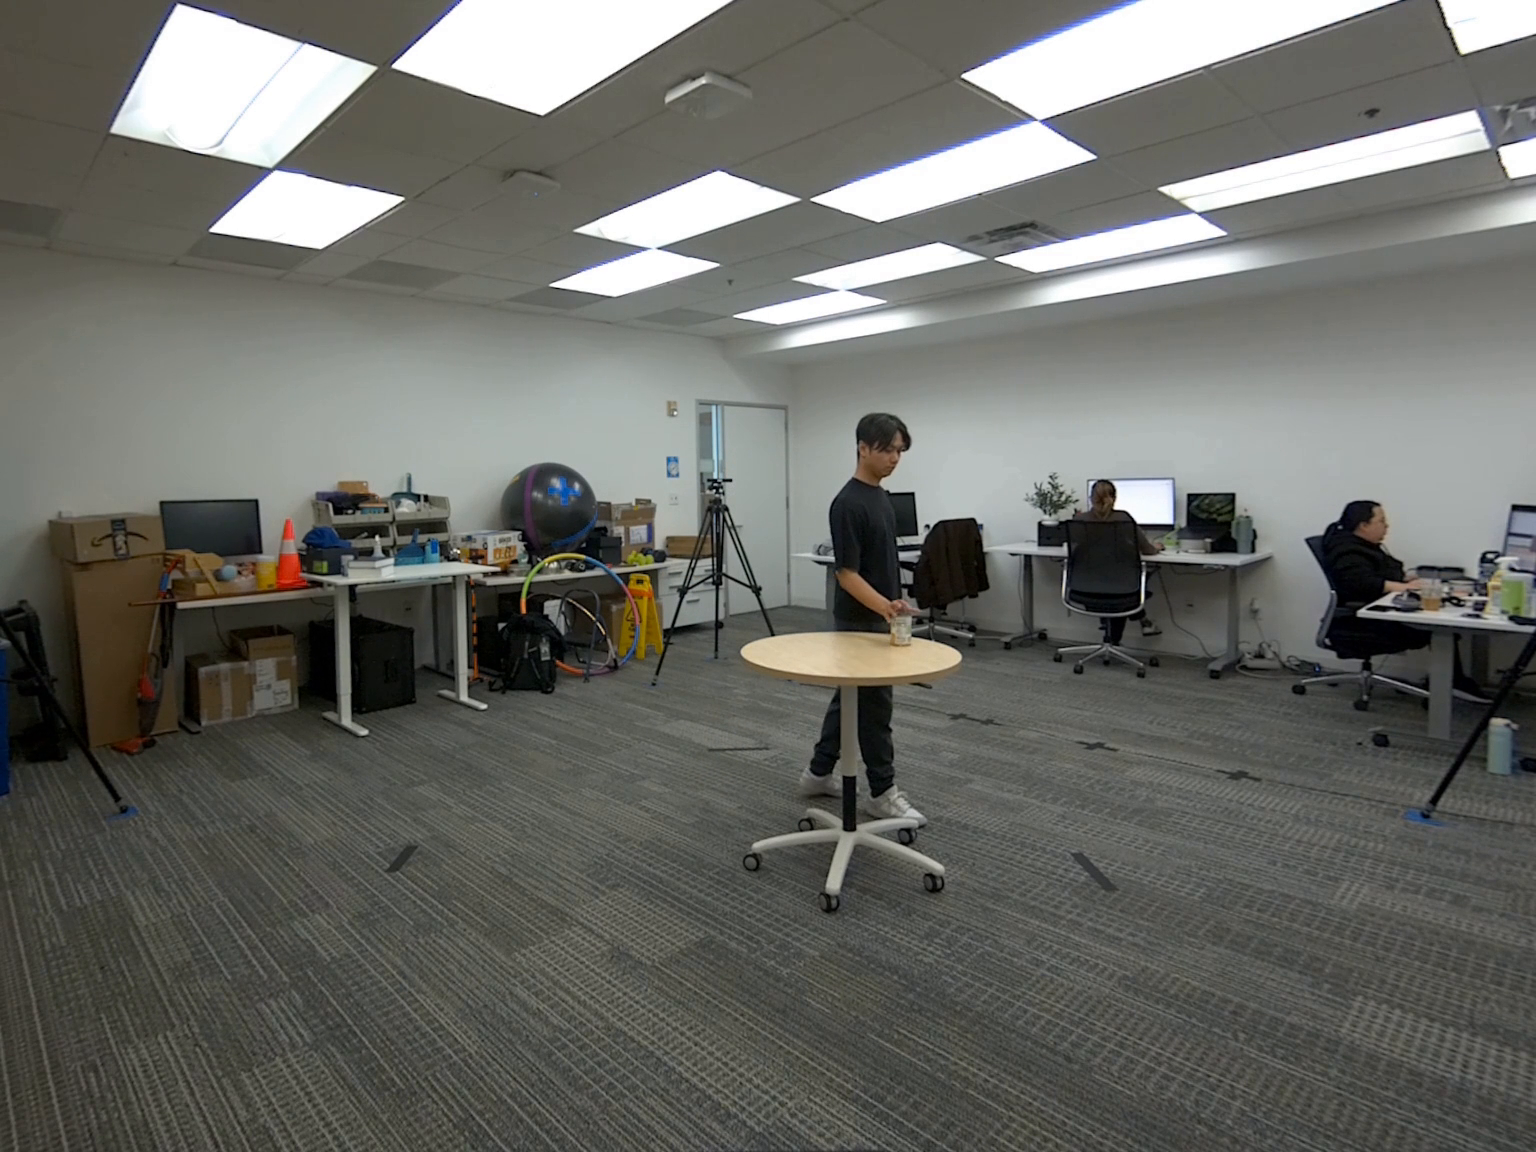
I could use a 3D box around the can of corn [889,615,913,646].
[{"bbox_3d":[0.490,0.198,3.120,0.074,0.110,0.074,-2,4,-1],"label":"can of corn"}]
